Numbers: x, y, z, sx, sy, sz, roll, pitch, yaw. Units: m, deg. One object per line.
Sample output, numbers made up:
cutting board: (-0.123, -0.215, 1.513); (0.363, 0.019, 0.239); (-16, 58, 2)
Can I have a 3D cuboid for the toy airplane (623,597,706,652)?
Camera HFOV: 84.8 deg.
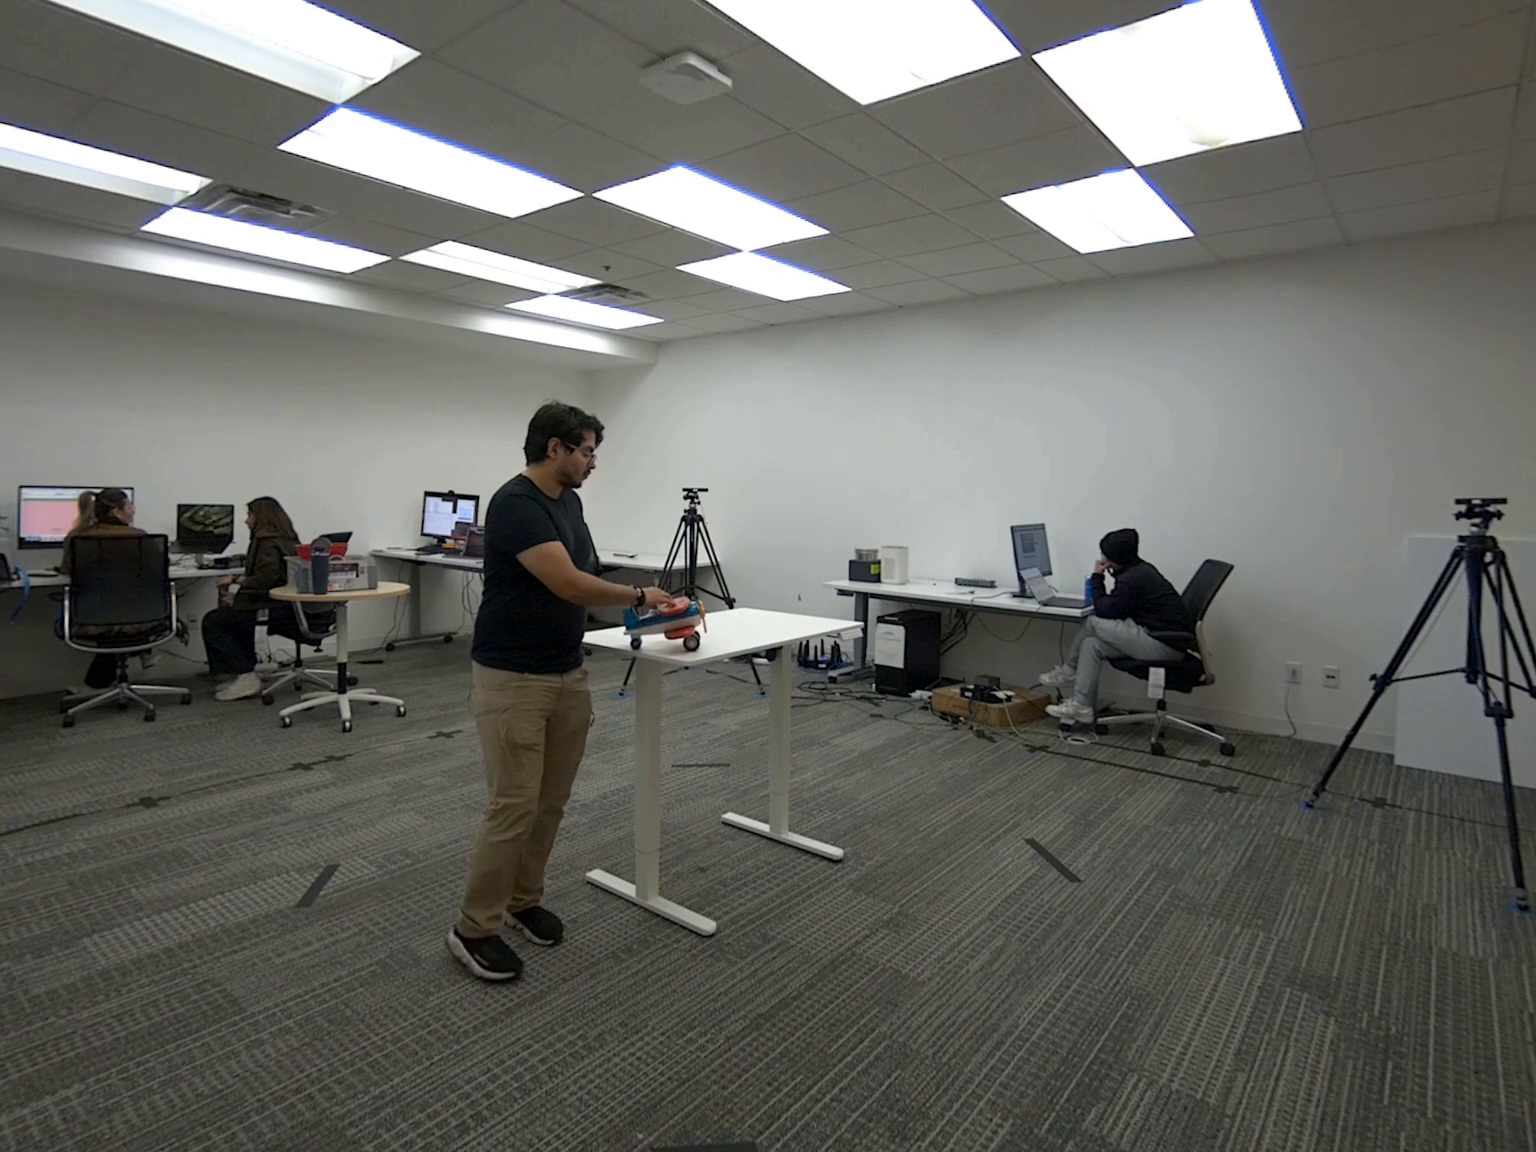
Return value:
toy airplane: (-0.334, 0.157, 2.665); (0.252, 0.156, 0.259); (-3, 5, -31)
